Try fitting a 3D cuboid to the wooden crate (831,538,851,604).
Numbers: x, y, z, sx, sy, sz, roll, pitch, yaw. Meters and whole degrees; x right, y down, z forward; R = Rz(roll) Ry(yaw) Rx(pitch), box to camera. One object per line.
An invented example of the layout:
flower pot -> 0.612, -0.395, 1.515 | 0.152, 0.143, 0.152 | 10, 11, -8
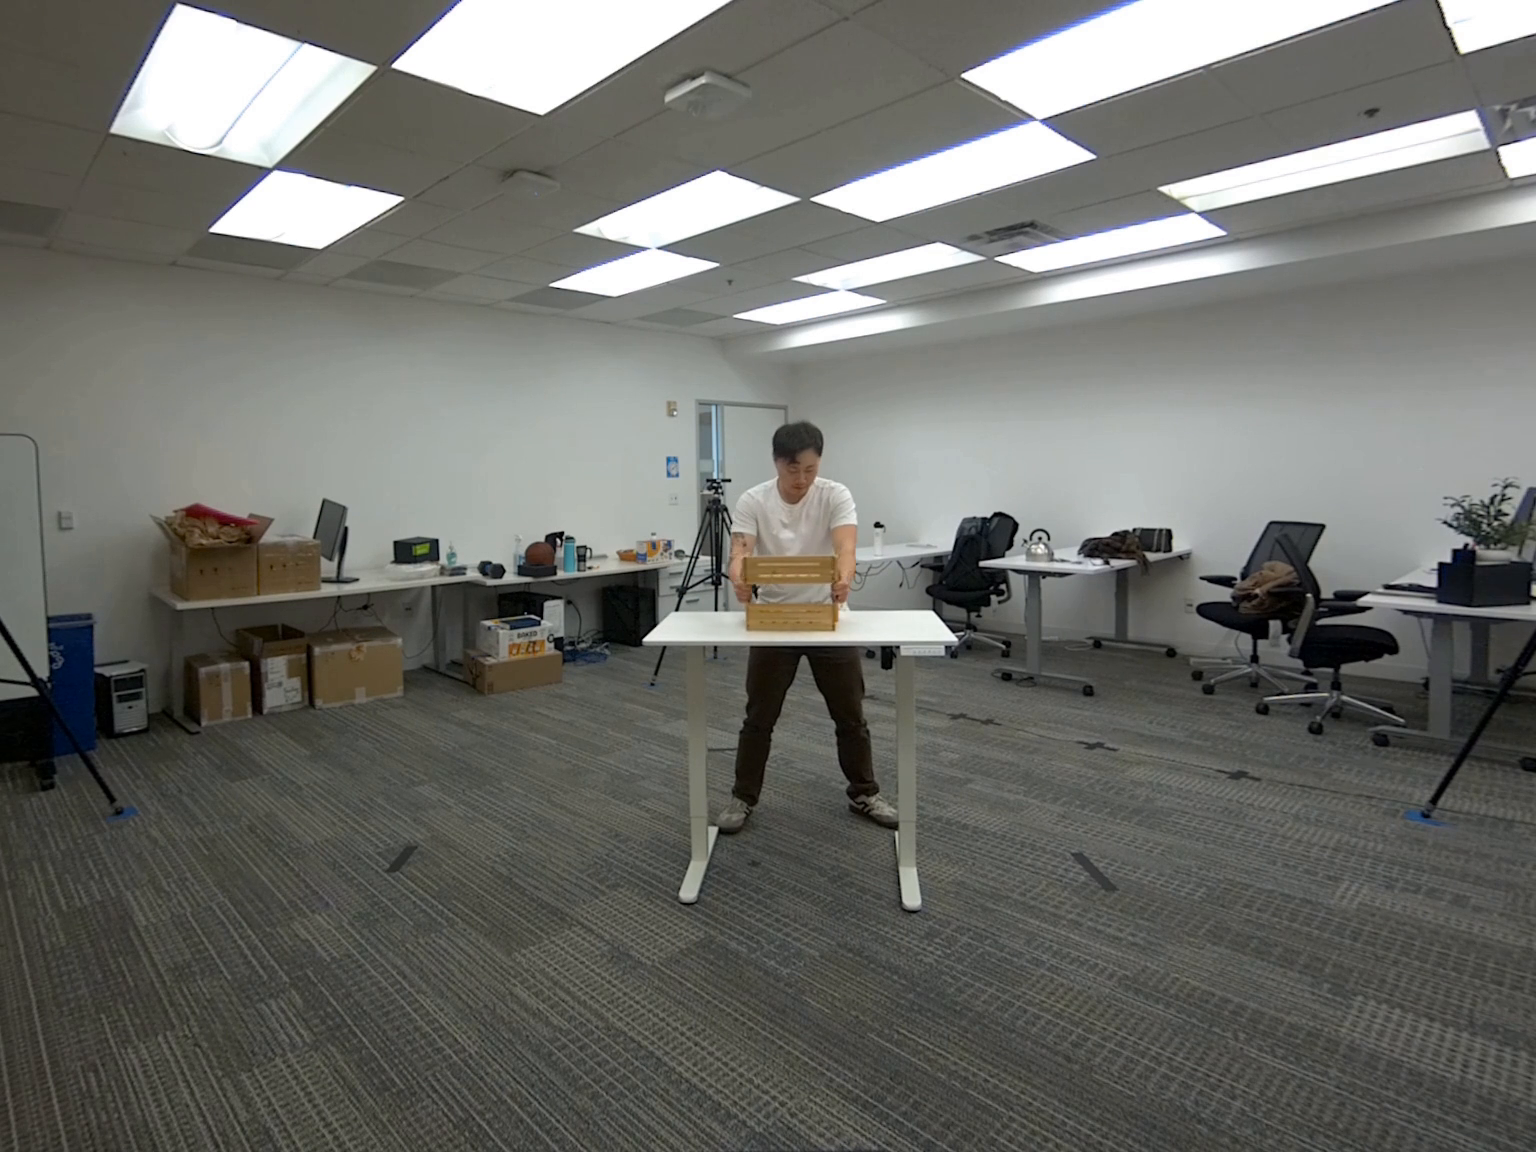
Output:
wooden crate -> 0.092, 0.047, 2.980 | 0.326, 0.272, 0.301 | 0, 6, 6
